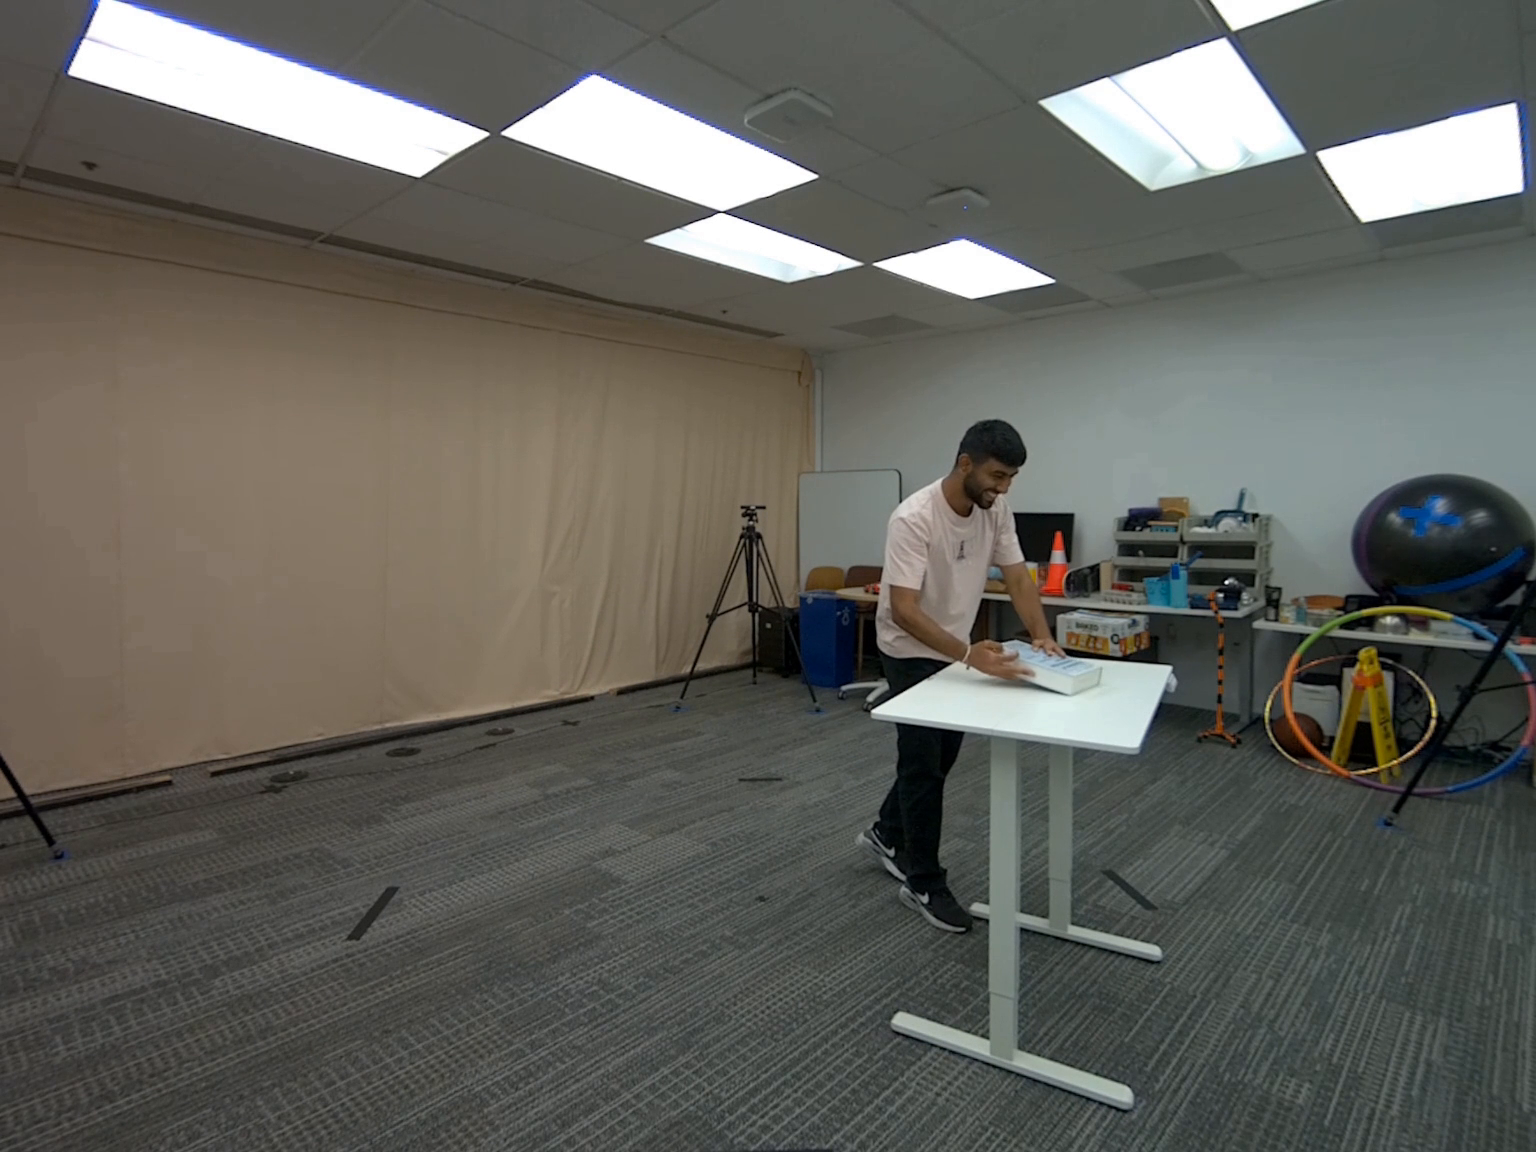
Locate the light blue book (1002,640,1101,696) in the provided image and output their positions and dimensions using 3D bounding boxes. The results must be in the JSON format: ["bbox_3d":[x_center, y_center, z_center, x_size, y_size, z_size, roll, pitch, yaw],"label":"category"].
[{"bbox_3d":[0.776,0.260,2.382,0.185,0.059,0.270,-4,13,-45],"label":"light blue book"}]
